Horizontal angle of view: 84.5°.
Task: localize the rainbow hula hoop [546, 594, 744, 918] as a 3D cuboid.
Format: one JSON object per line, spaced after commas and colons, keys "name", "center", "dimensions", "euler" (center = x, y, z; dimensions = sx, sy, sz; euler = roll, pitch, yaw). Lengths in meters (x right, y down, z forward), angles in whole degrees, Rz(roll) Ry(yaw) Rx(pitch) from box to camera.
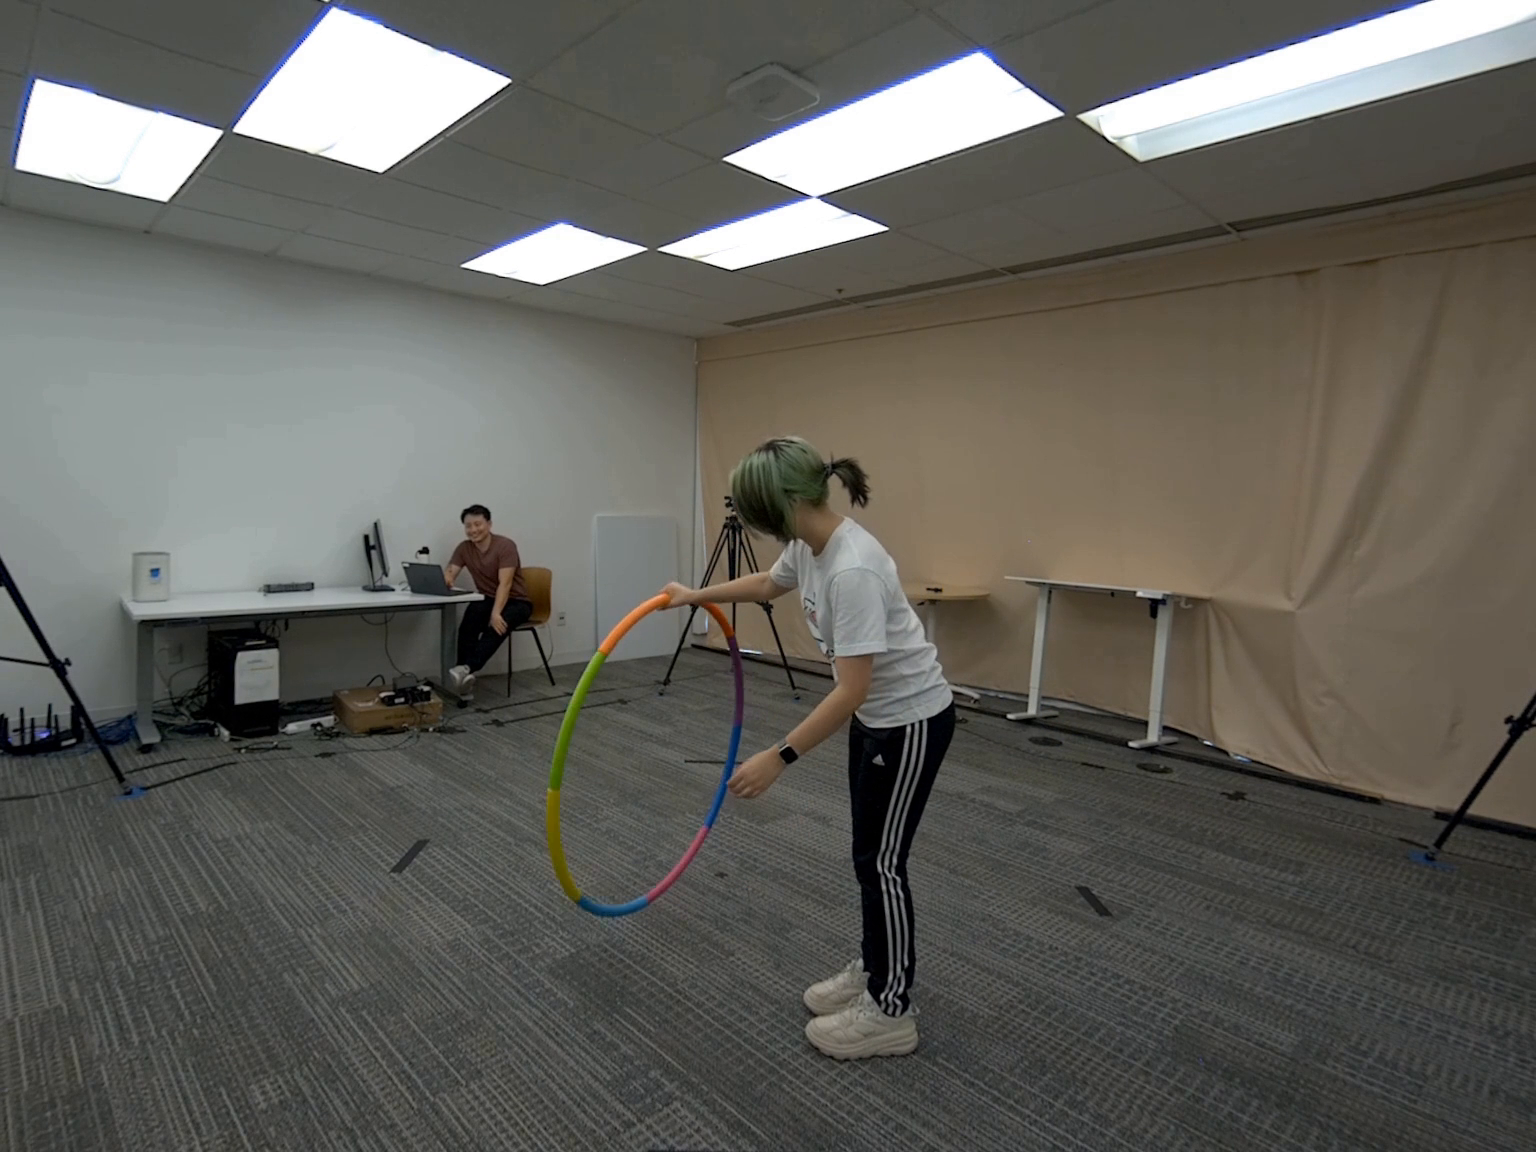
{"name": "rainbow hula hoop", "center": [-0.328, 0.540, 2.599], "dimensions": [0.036, 0.974, 0.960], "euler": [9, 7, 29]}
